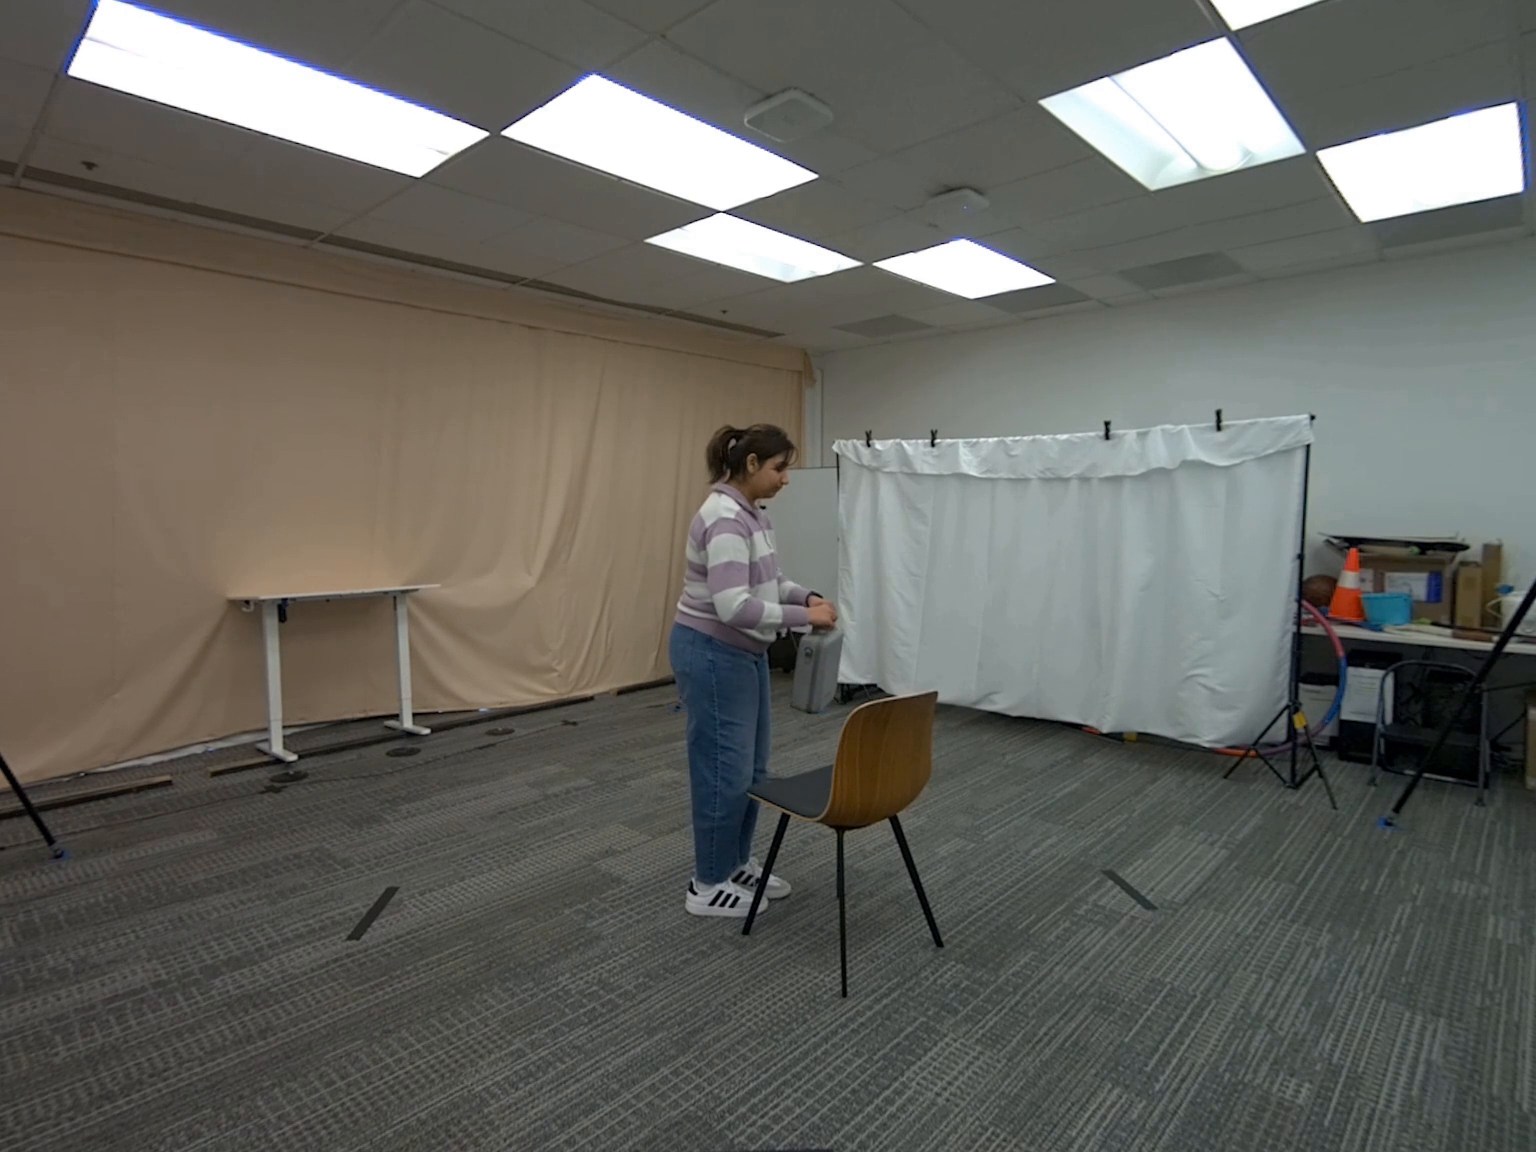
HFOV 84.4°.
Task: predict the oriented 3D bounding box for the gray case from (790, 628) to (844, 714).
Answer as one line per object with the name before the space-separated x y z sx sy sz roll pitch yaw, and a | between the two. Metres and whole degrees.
gray case | 0.160 0.311 2.792 0.106 0.260 0.252 10 6 15
